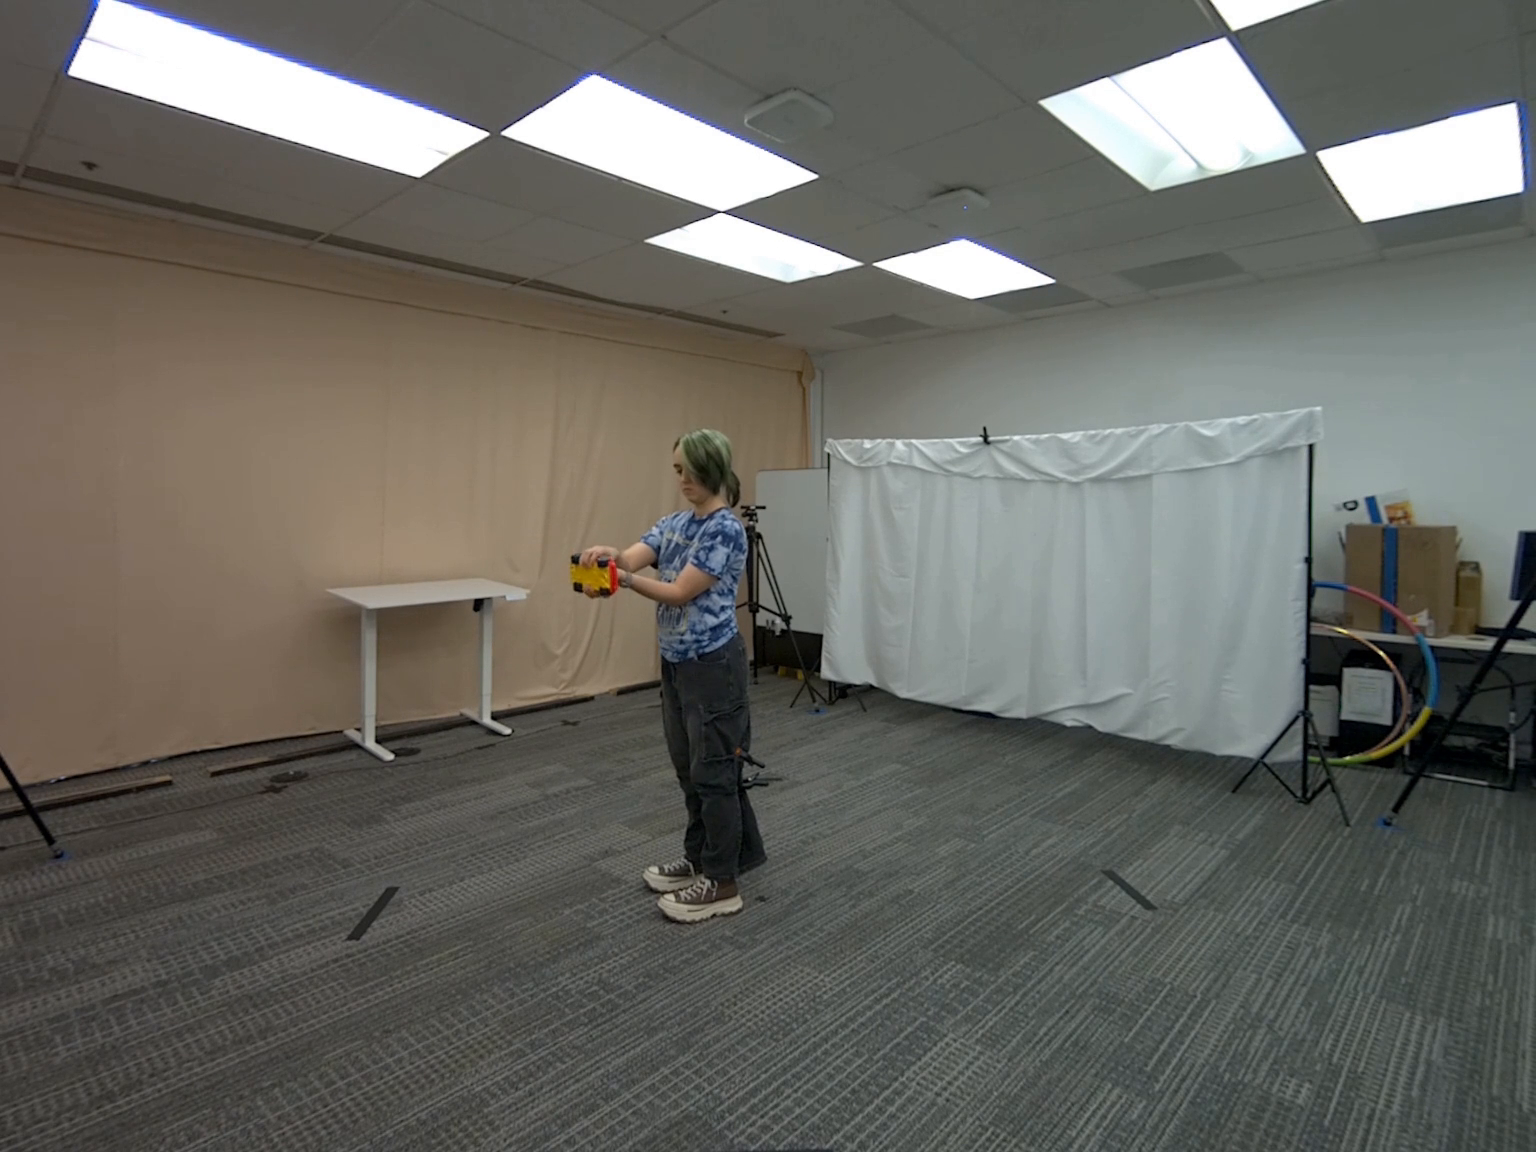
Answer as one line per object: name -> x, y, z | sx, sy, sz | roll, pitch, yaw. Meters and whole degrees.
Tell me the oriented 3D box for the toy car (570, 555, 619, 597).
toy car -> -0.553, -0.007, 2.625 | 0.081, 0.129, 0.262 | -8, 11, -30
